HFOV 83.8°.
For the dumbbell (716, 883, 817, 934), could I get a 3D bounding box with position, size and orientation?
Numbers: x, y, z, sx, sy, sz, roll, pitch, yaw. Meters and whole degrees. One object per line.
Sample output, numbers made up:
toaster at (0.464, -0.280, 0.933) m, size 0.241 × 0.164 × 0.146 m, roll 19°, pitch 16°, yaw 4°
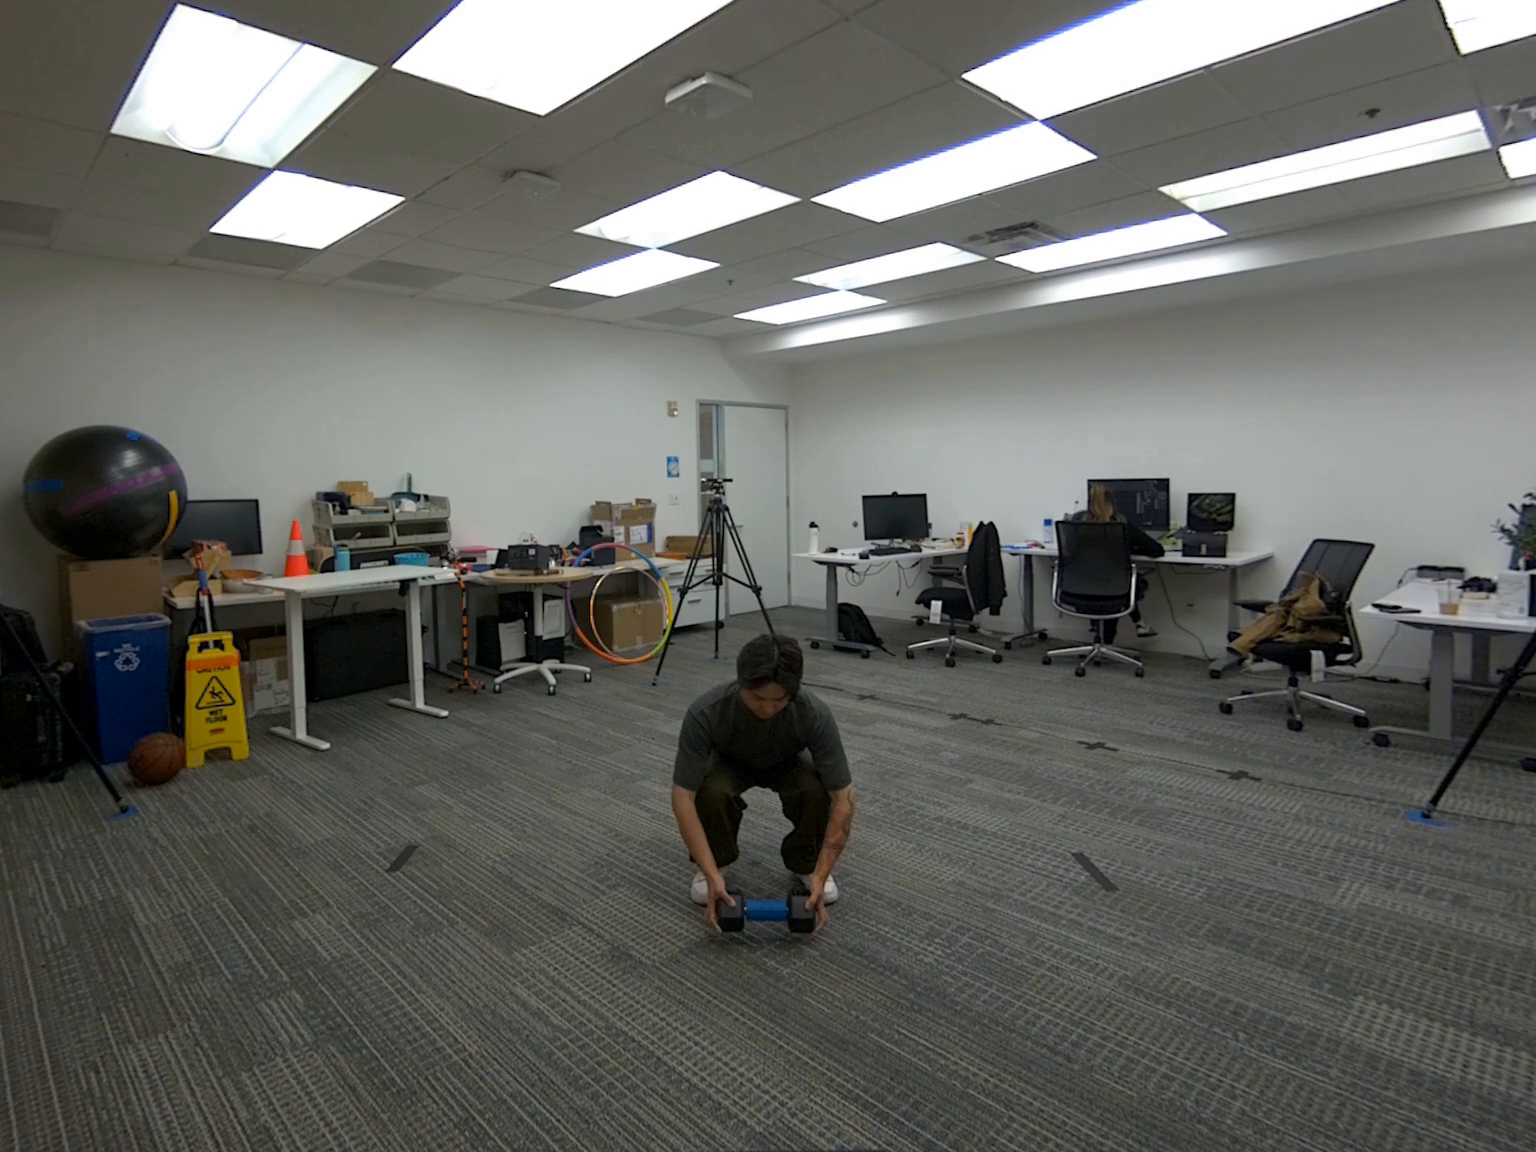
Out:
dumbbell at (-0.009, 1.005, 2.580) m, size 0.293 × 0.126 × 0.106 m, roll 0°, pitch -32°, yaw 0°
